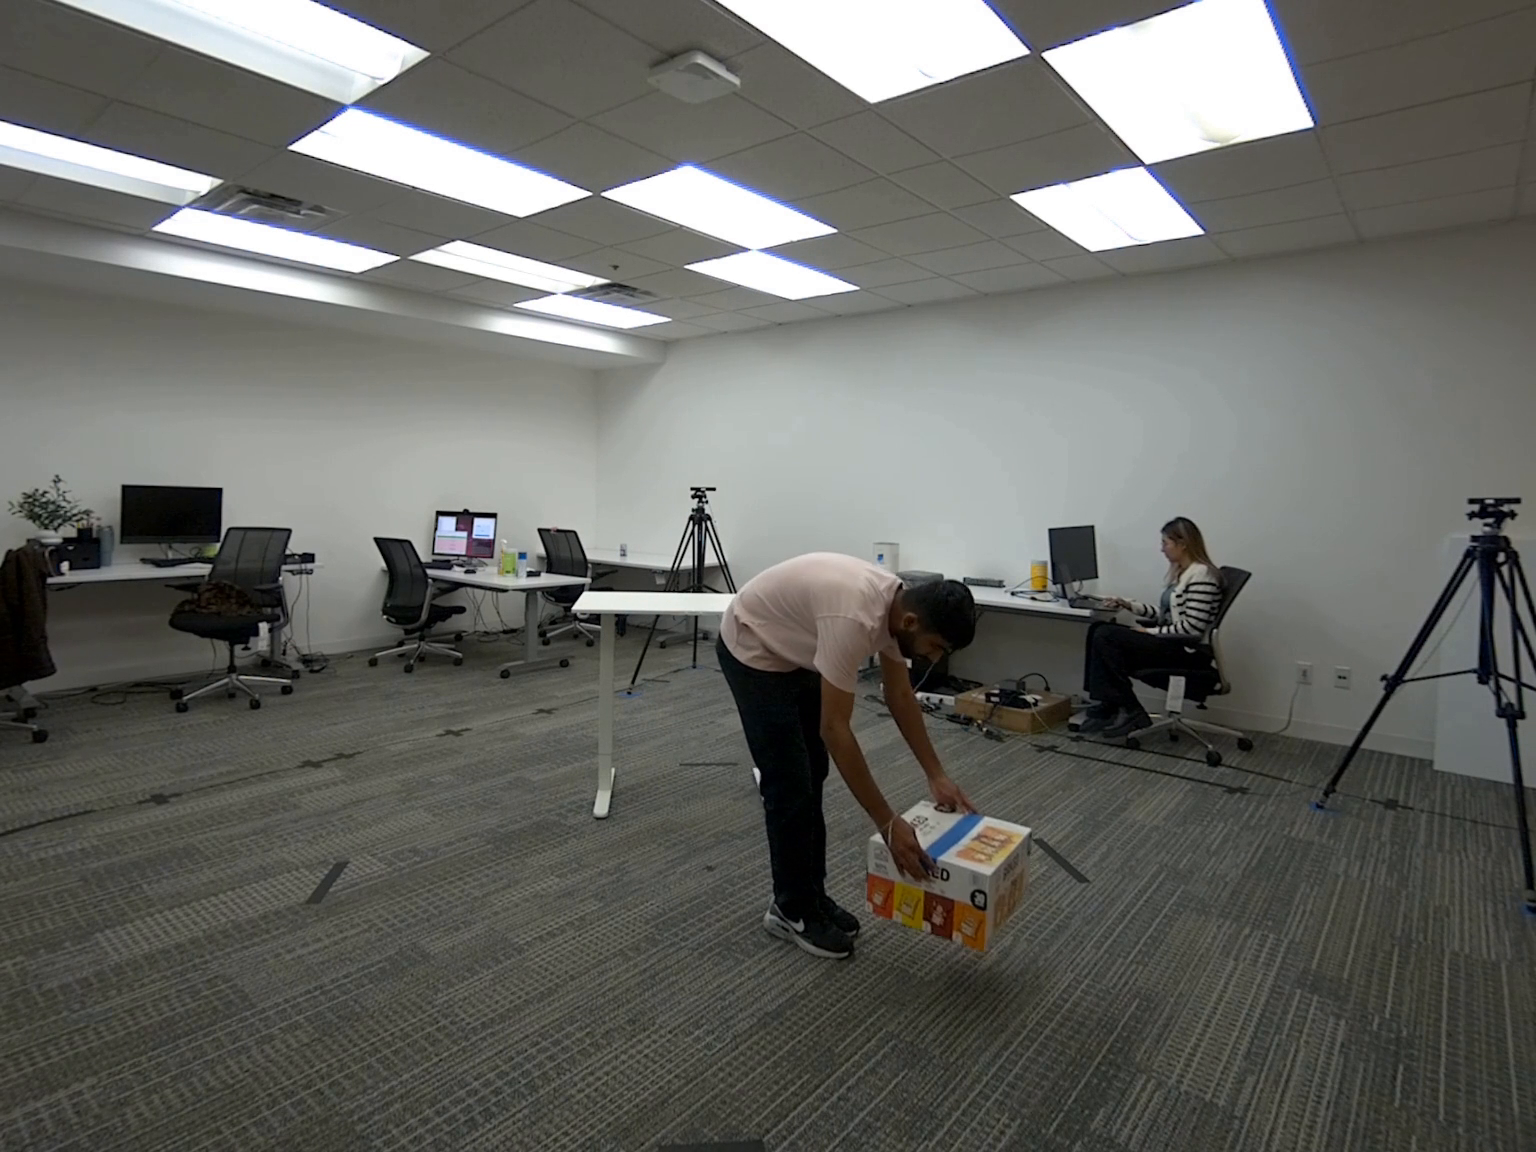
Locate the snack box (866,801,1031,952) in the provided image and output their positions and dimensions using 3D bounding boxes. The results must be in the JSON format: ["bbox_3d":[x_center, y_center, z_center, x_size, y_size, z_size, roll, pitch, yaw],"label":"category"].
[{"bbox_3d":[0.520,0.822,2.425,0.351,0.205,0.394,5,5,33],"label":"snack box"}]
